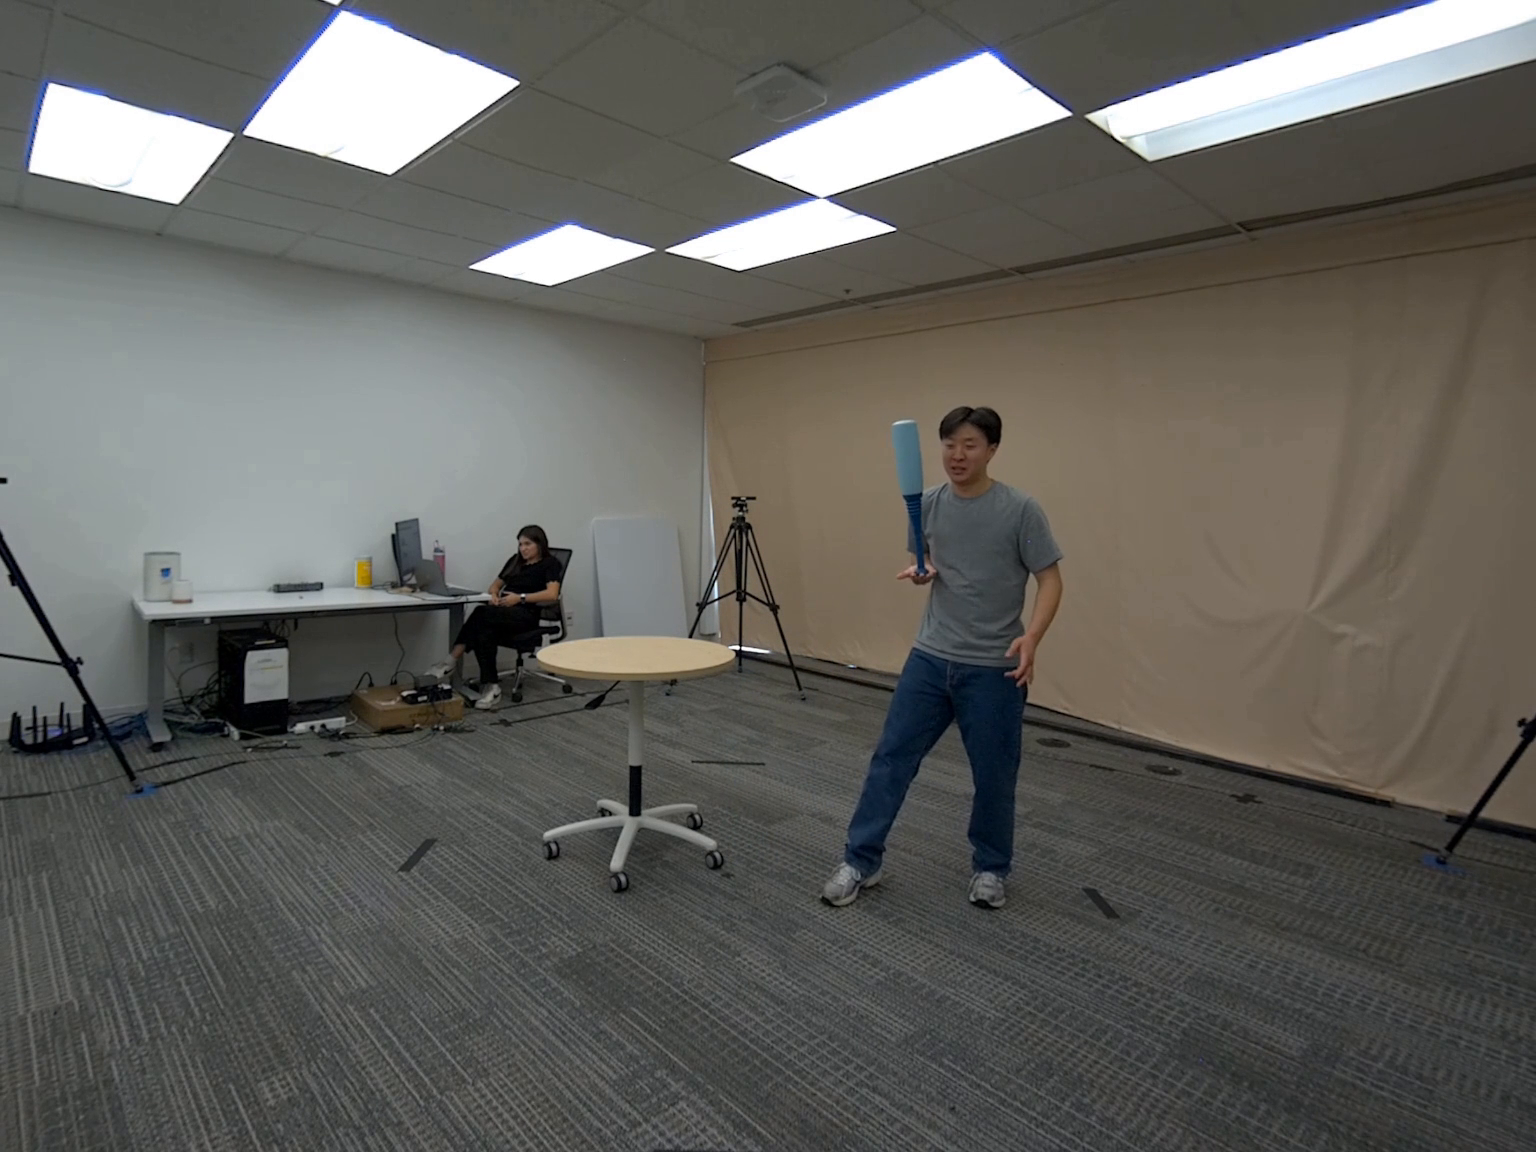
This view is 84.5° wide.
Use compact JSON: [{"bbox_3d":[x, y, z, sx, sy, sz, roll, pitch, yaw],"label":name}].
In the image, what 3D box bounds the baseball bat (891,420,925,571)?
[{"bbox_3d":[0.491,-0.259,2.898,0.089,0.539,0.089,-7,8,0],"label":"baseball bat"}]
